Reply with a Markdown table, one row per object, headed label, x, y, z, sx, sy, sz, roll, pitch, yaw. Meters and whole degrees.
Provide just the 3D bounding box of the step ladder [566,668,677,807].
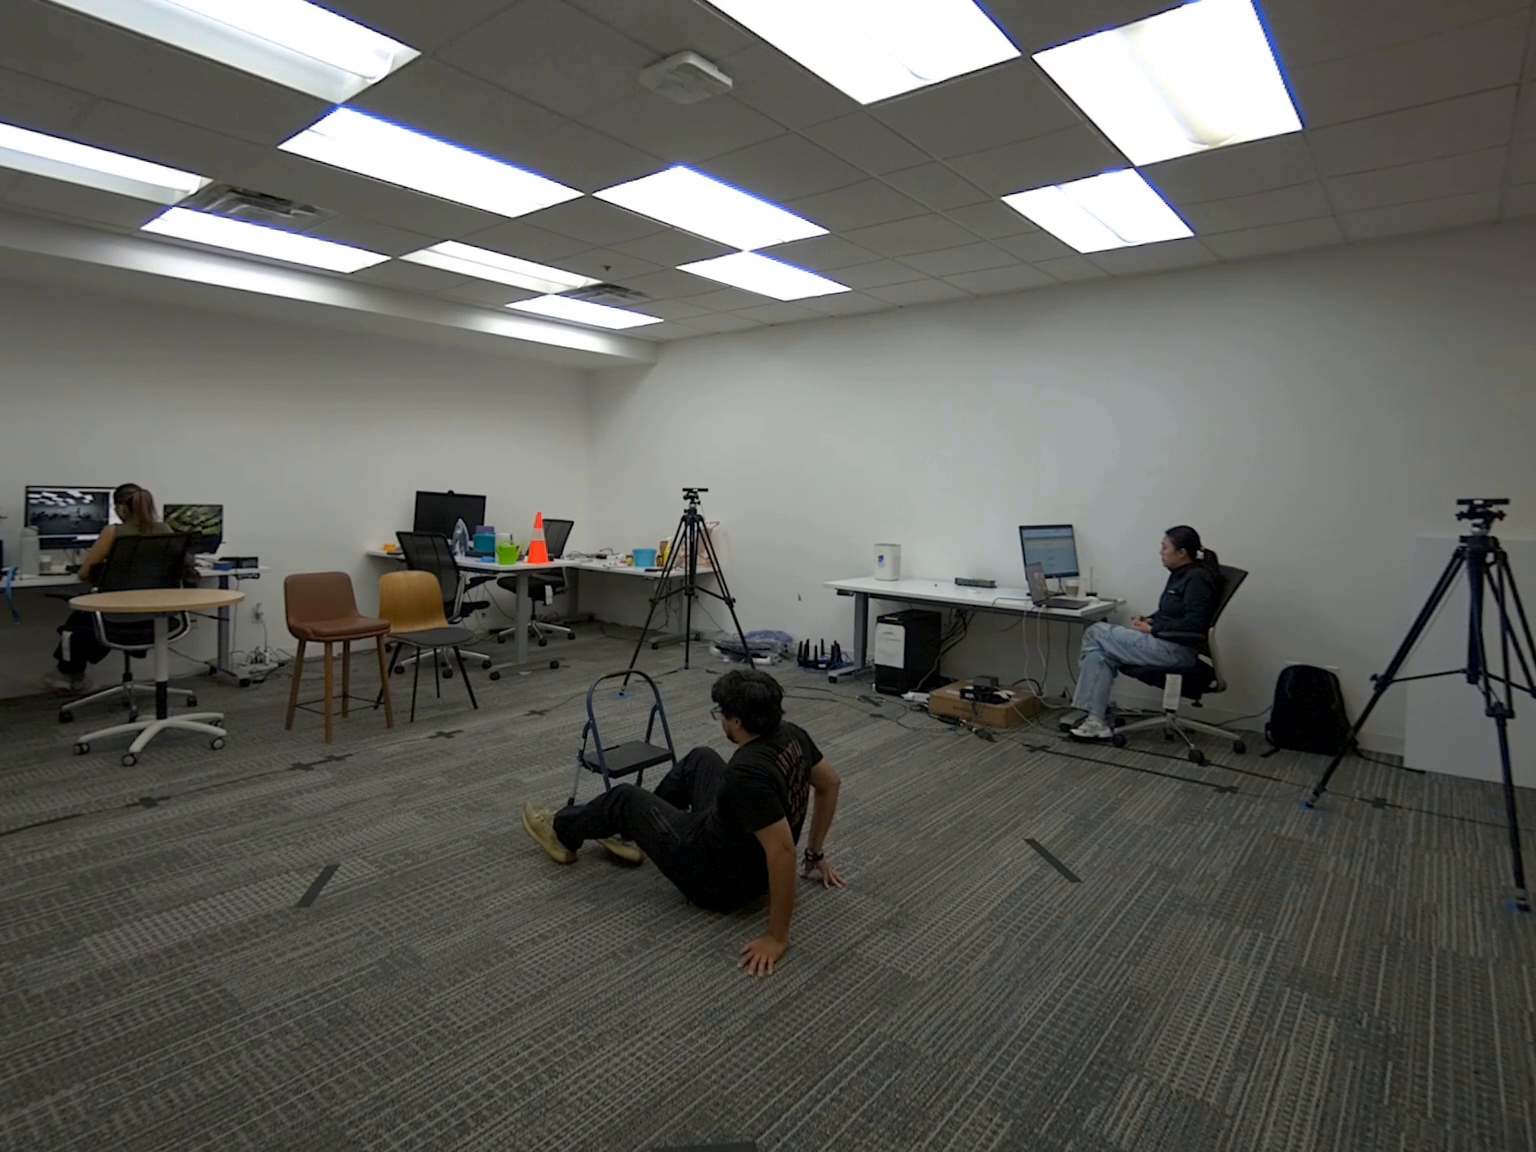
| label | x | y | z | sx | sy | sz | roll | pitch | yaw |
| --- | --- | --- | --- | --- | --- | --- | --- | --- | --- |
| step ladder | -0.596 | 0.712 | 3.599 | 0.361 | 0.604 | 0.418 | 3 | 4 | 38 |
